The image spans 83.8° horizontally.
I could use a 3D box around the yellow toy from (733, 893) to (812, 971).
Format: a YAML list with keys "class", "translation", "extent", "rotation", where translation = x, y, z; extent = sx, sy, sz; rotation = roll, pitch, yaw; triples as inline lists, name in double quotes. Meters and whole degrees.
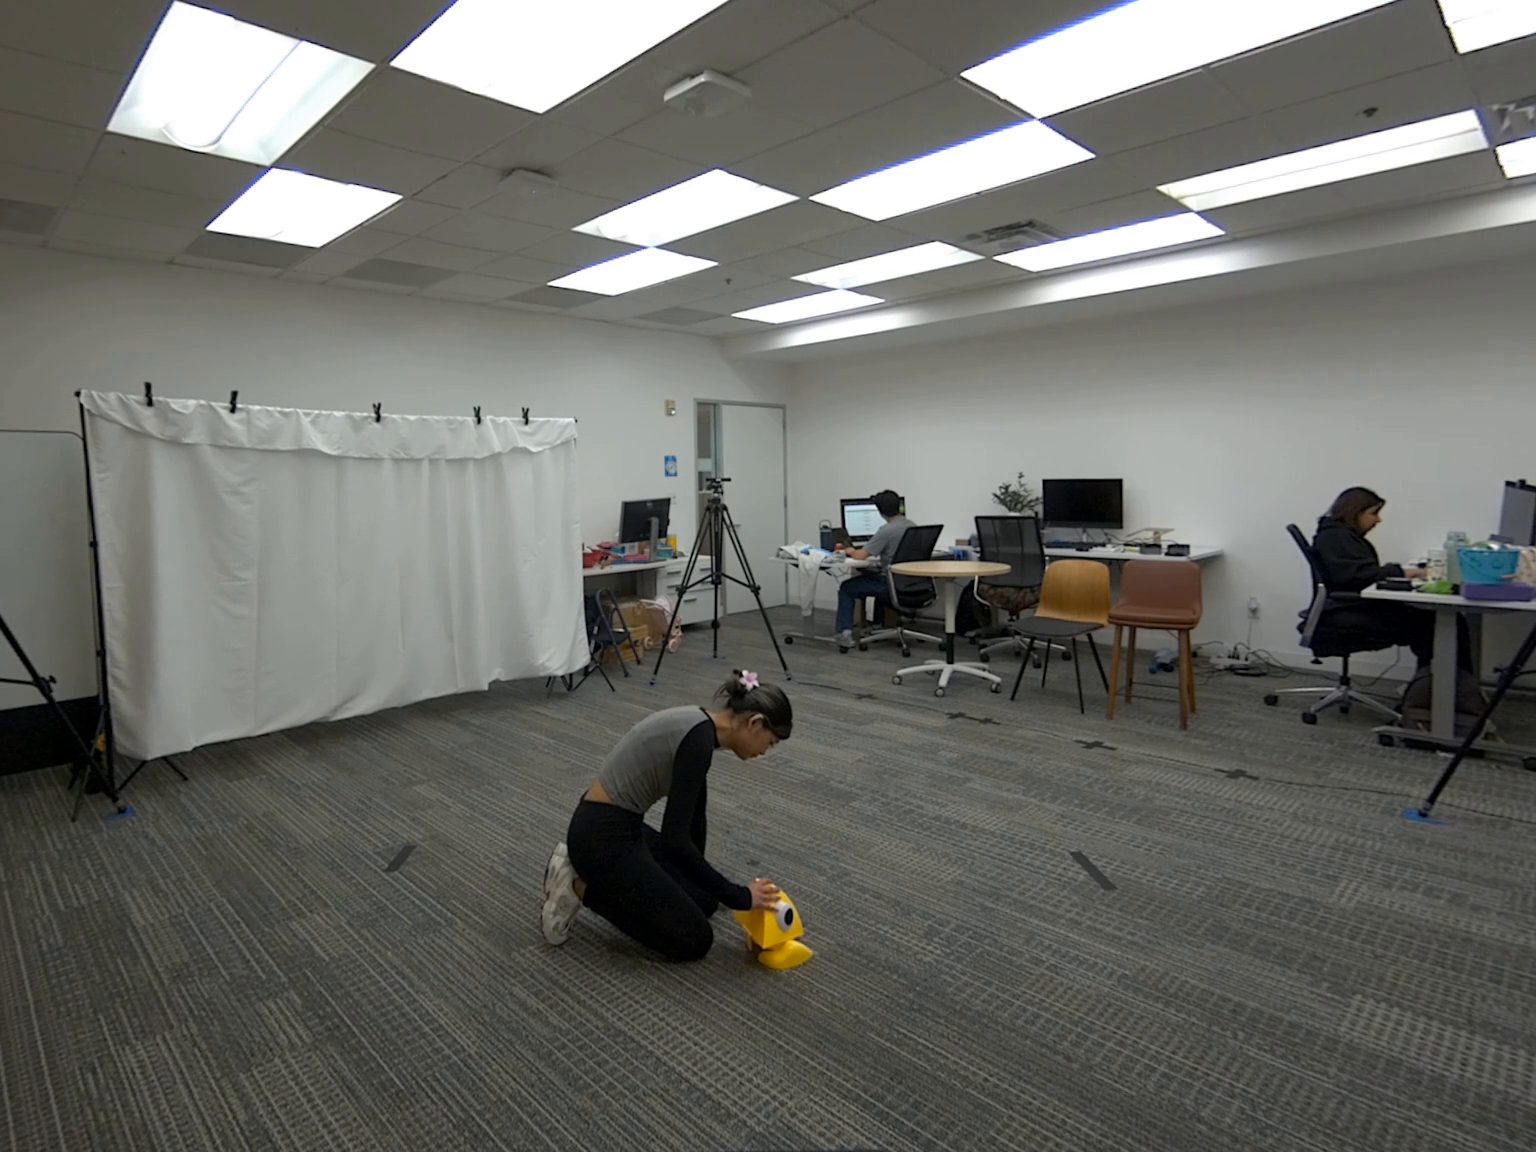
- class: "yellow toy"
  translation: [0.021, 0.992, 2.522]
  extent: [0.189, 0.230, 0.210]
  rotation: [-3, 5, -25]
